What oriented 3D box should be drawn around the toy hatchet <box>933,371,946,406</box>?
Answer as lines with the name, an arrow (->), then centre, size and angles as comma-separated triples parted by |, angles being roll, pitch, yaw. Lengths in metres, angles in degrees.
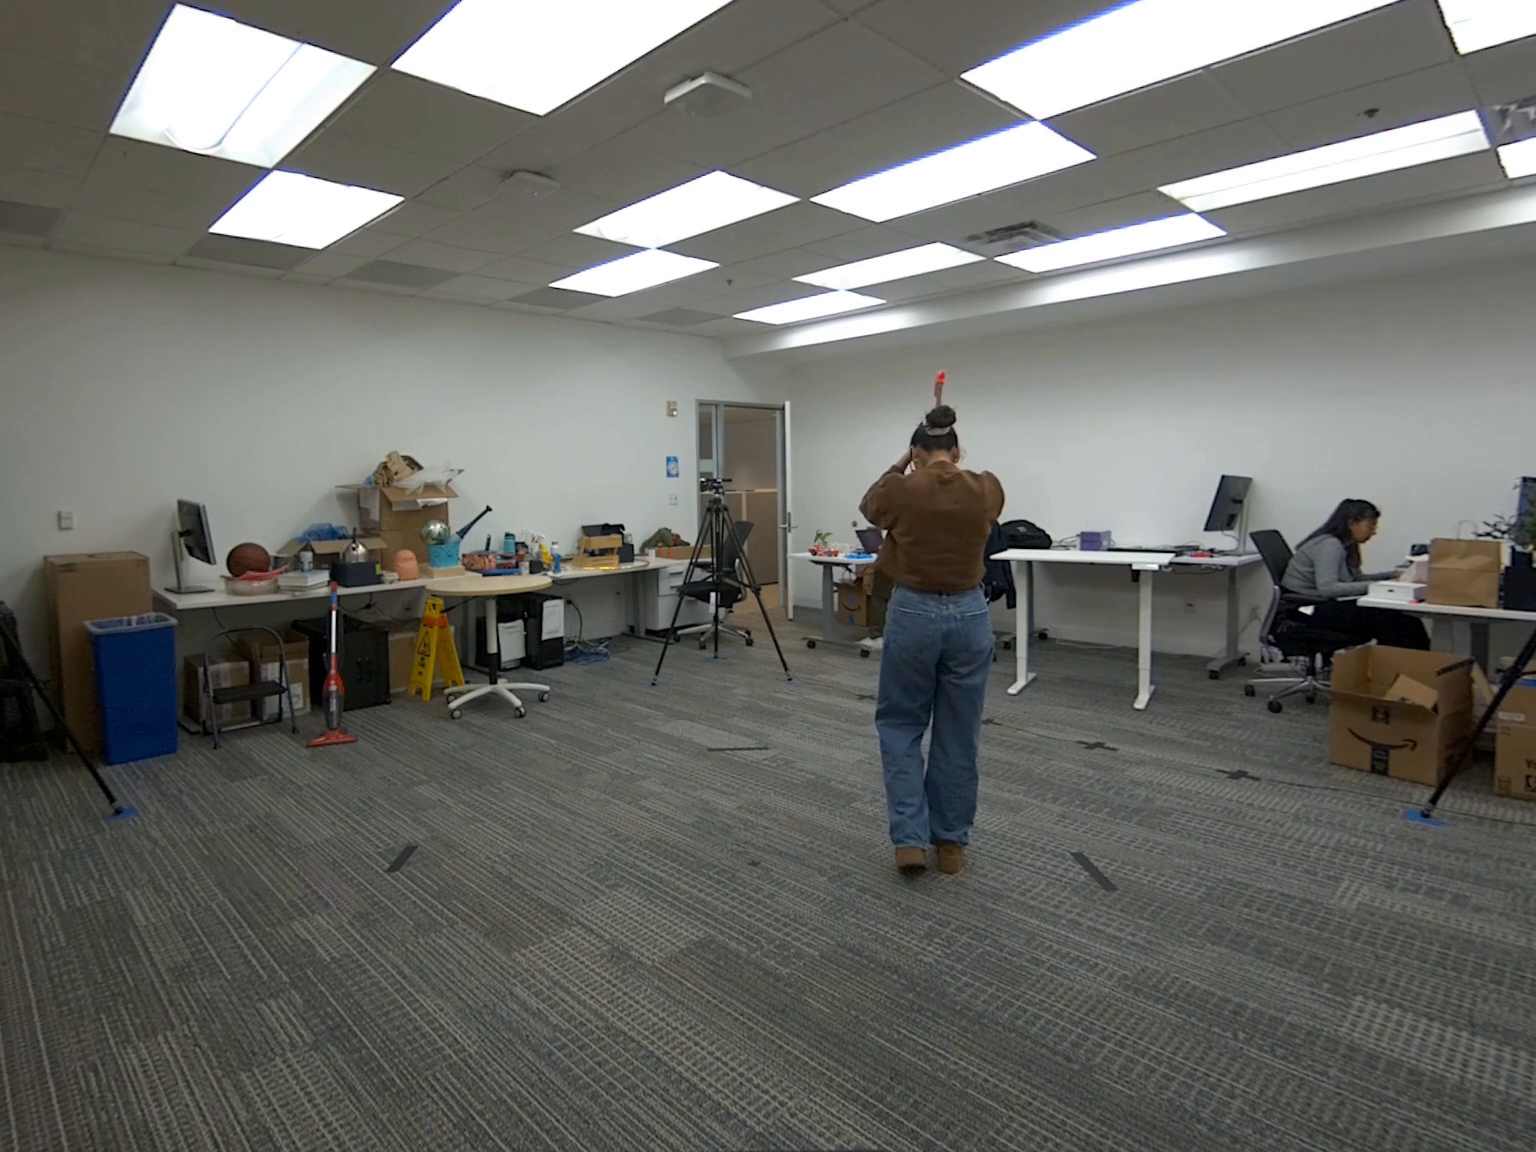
toy hatchet -> 0.645, -0.650, 3.259 | 0.029, 0.270, 0.131 | 8, 2, -3
